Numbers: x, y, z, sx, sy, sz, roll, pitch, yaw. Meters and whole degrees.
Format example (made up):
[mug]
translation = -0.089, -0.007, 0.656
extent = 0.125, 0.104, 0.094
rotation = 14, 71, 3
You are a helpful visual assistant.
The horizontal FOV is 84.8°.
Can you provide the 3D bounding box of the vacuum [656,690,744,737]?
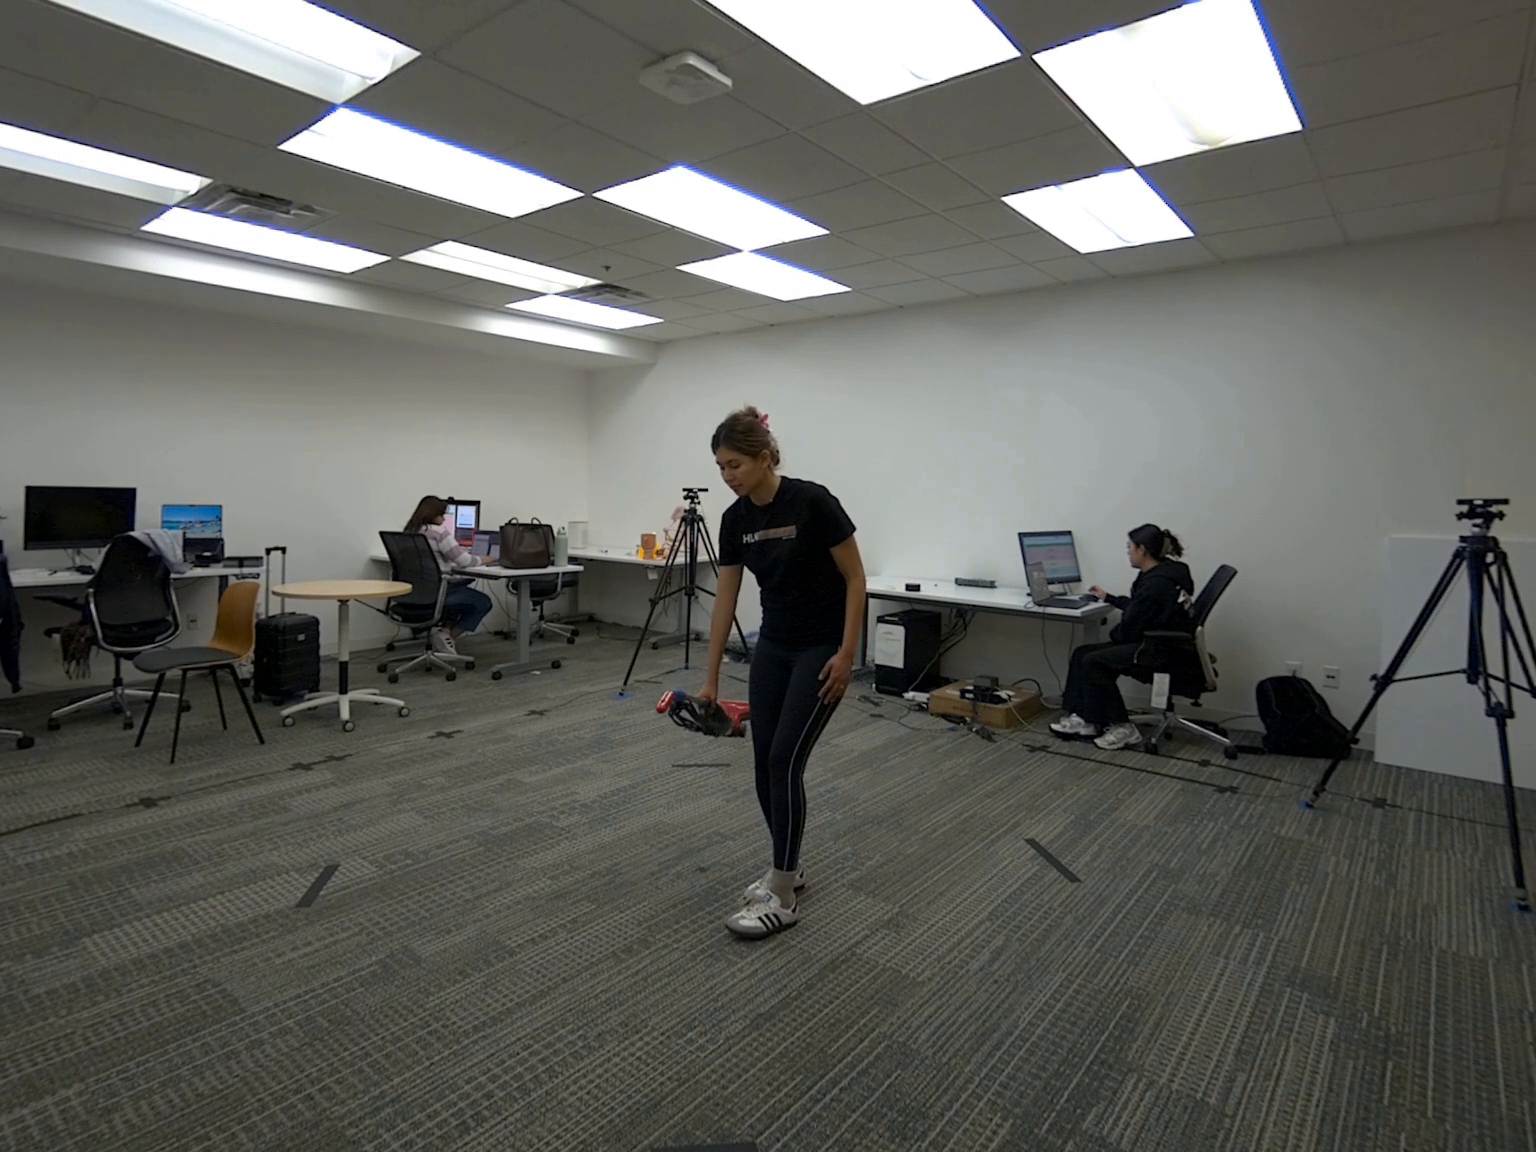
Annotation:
[vacuum]
translation = -0.244, 0.466, 2.831
extent = 0.256, 0.146, 1.024
rotation = 0, -12, 10
